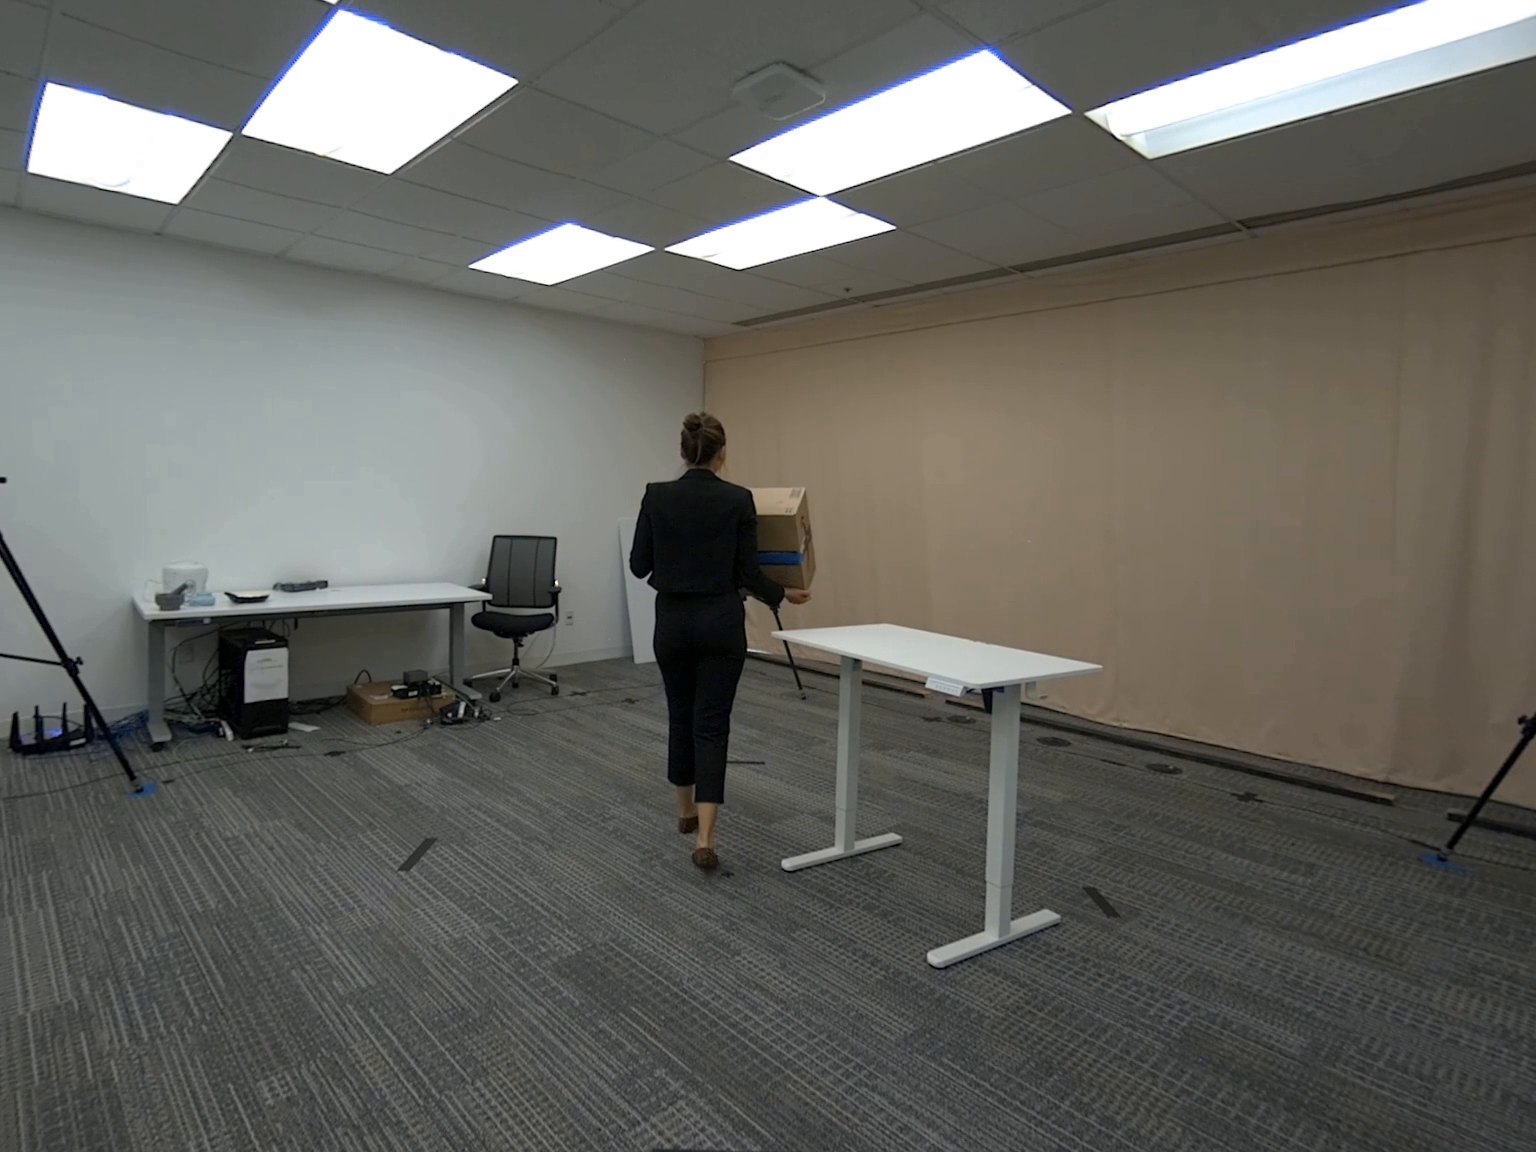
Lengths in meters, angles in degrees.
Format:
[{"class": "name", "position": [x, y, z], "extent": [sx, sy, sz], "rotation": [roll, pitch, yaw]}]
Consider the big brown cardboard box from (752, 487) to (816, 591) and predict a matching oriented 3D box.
[{"class": "big brown cardboard box", "position": [-0.119, -0.142, 3.587], "extent": [0.597, 0.407, 0.235], "rotation": [1, 35, 17]}]
